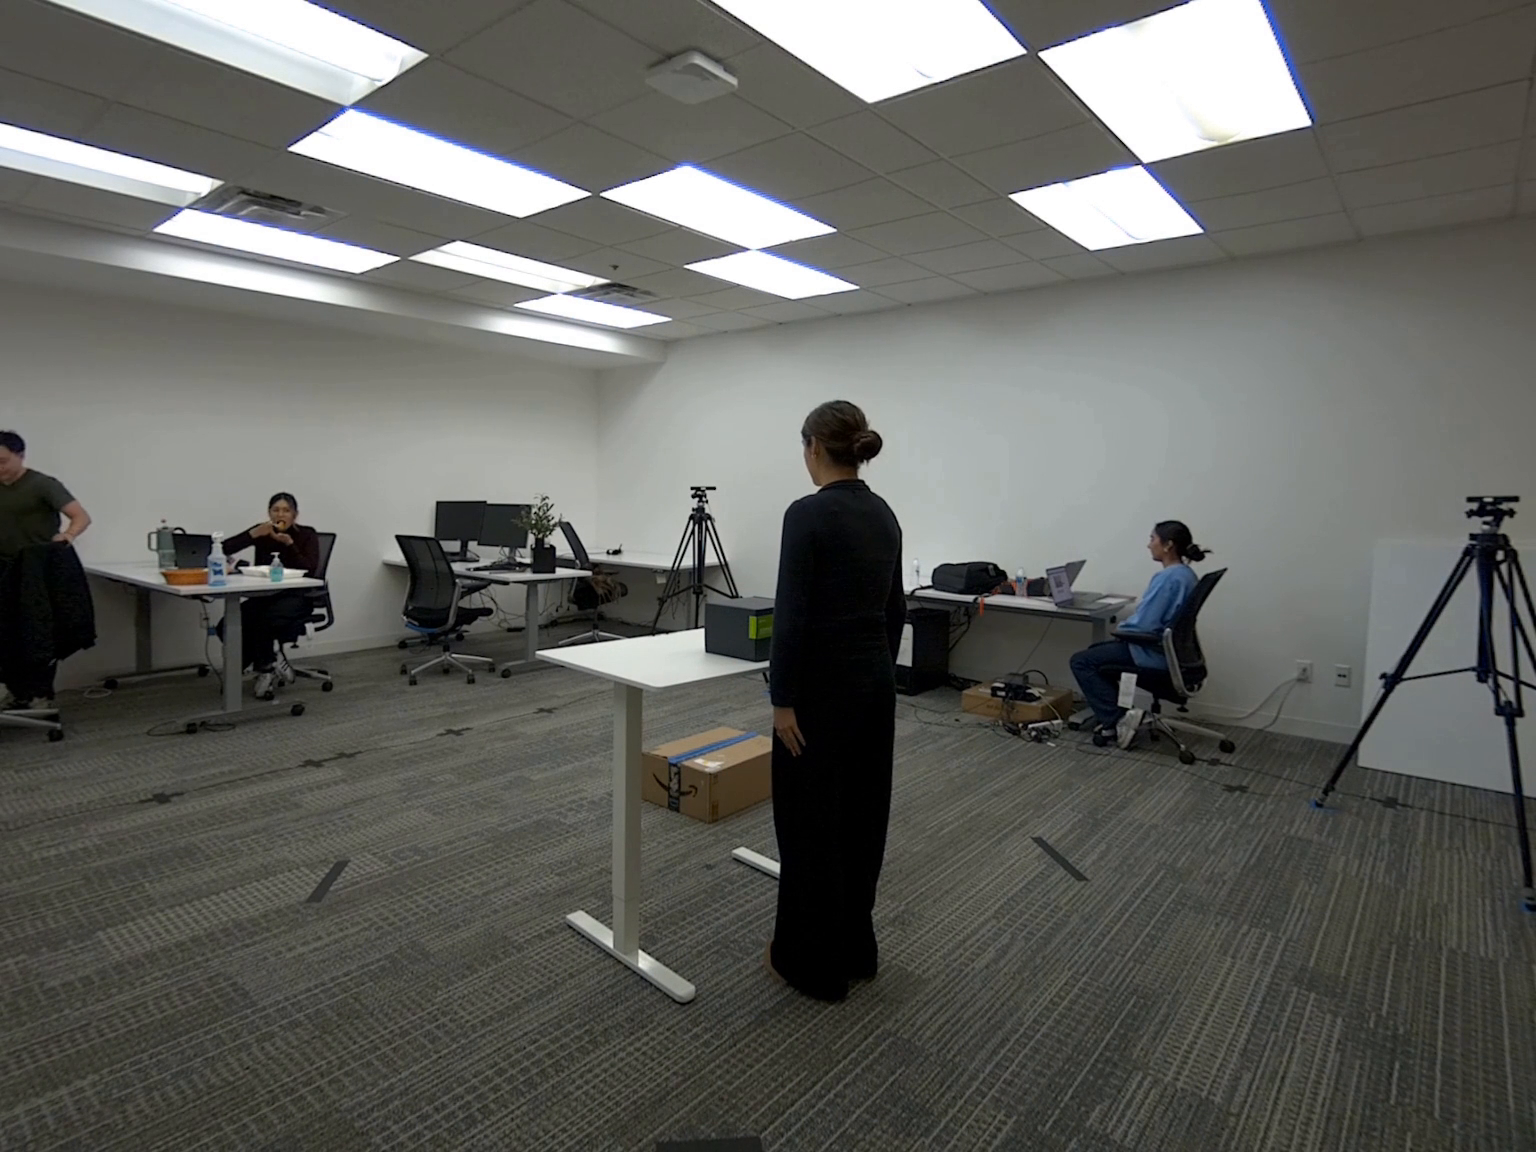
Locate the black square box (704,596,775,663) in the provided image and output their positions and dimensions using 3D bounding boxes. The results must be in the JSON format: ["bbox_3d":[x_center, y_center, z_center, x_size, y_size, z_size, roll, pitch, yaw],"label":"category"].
[{"bbox_3d":[-0.051,0.157,2.611,0.224,0.155,0.221,5,7,41],"label":"black square box"}]
